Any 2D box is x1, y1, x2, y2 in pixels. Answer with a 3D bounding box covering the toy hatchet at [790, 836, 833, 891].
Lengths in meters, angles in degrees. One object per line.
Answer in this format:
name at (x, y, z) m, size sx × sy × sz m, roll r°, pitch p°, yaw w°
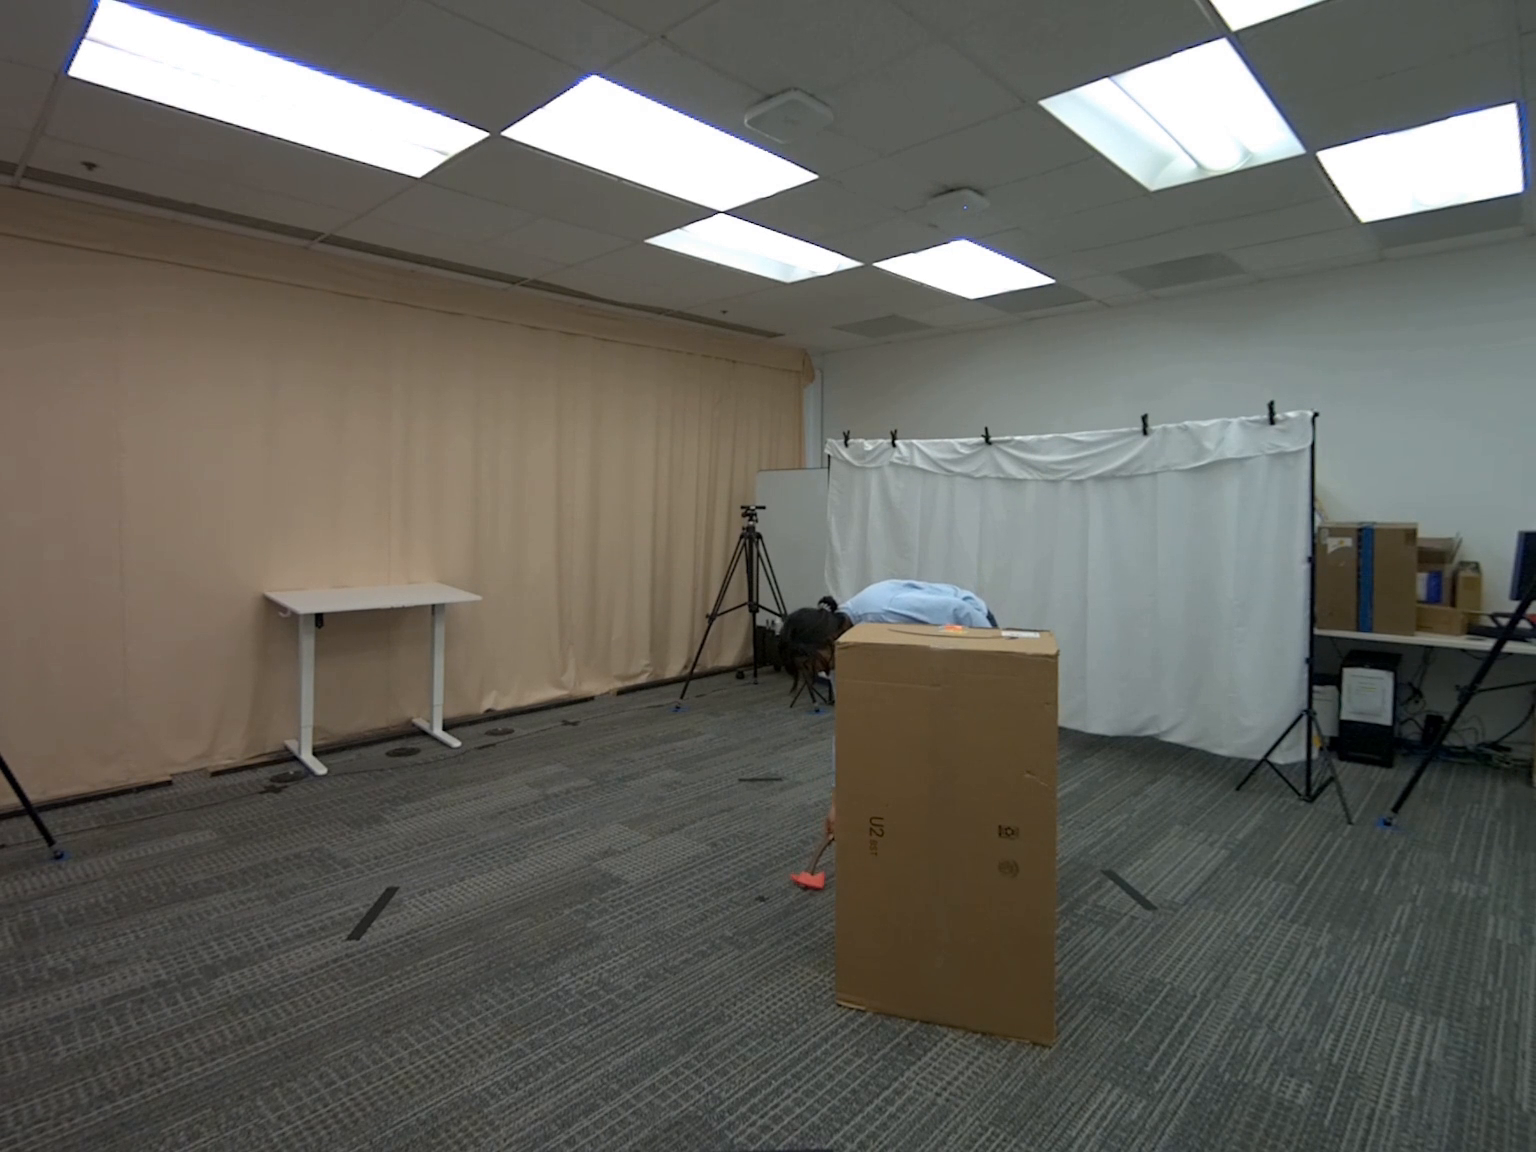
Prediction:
toy hatchet at (0.215, 1.057, 3.109) m, size 0.268 × 0.029 × 0.136 m, roll -38°, pitch 41°, yaw -19°
